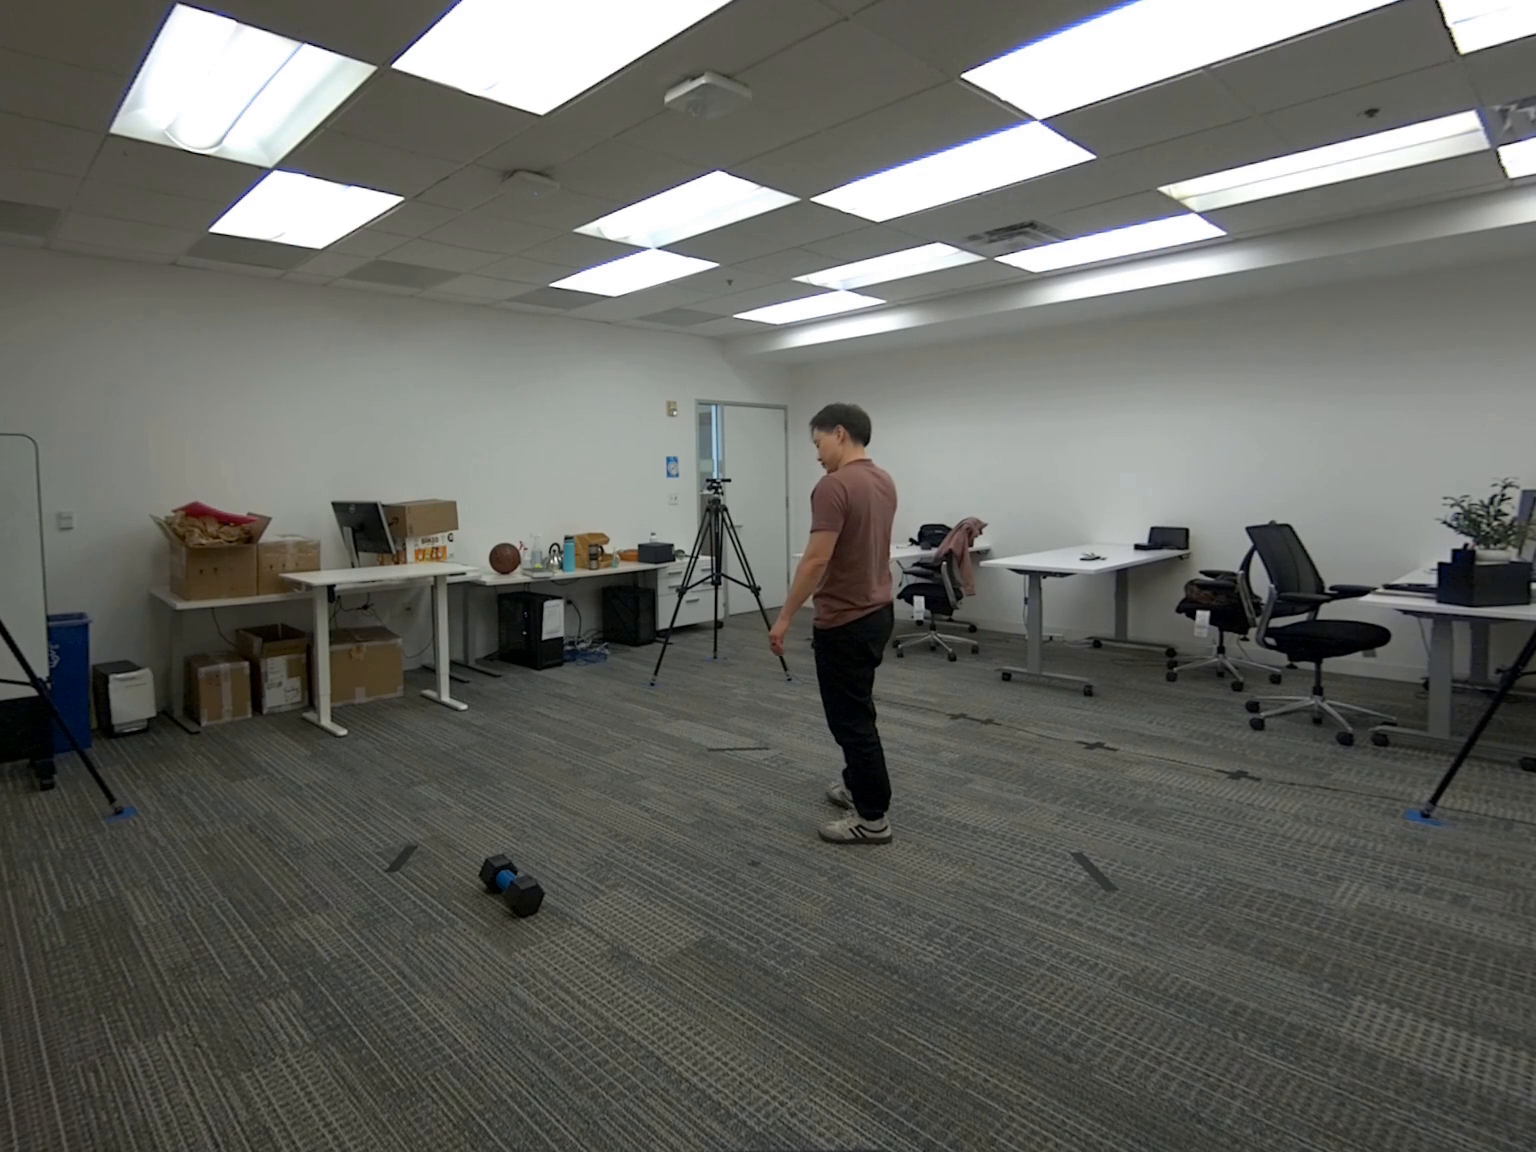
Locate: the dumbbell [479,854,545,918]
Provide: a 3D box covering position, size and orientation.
[{"bbox_3d":[-0.859,1.036,2.866,0.120,0.108,0.302,-5,7,-39],"label":"dumbbell"}]
